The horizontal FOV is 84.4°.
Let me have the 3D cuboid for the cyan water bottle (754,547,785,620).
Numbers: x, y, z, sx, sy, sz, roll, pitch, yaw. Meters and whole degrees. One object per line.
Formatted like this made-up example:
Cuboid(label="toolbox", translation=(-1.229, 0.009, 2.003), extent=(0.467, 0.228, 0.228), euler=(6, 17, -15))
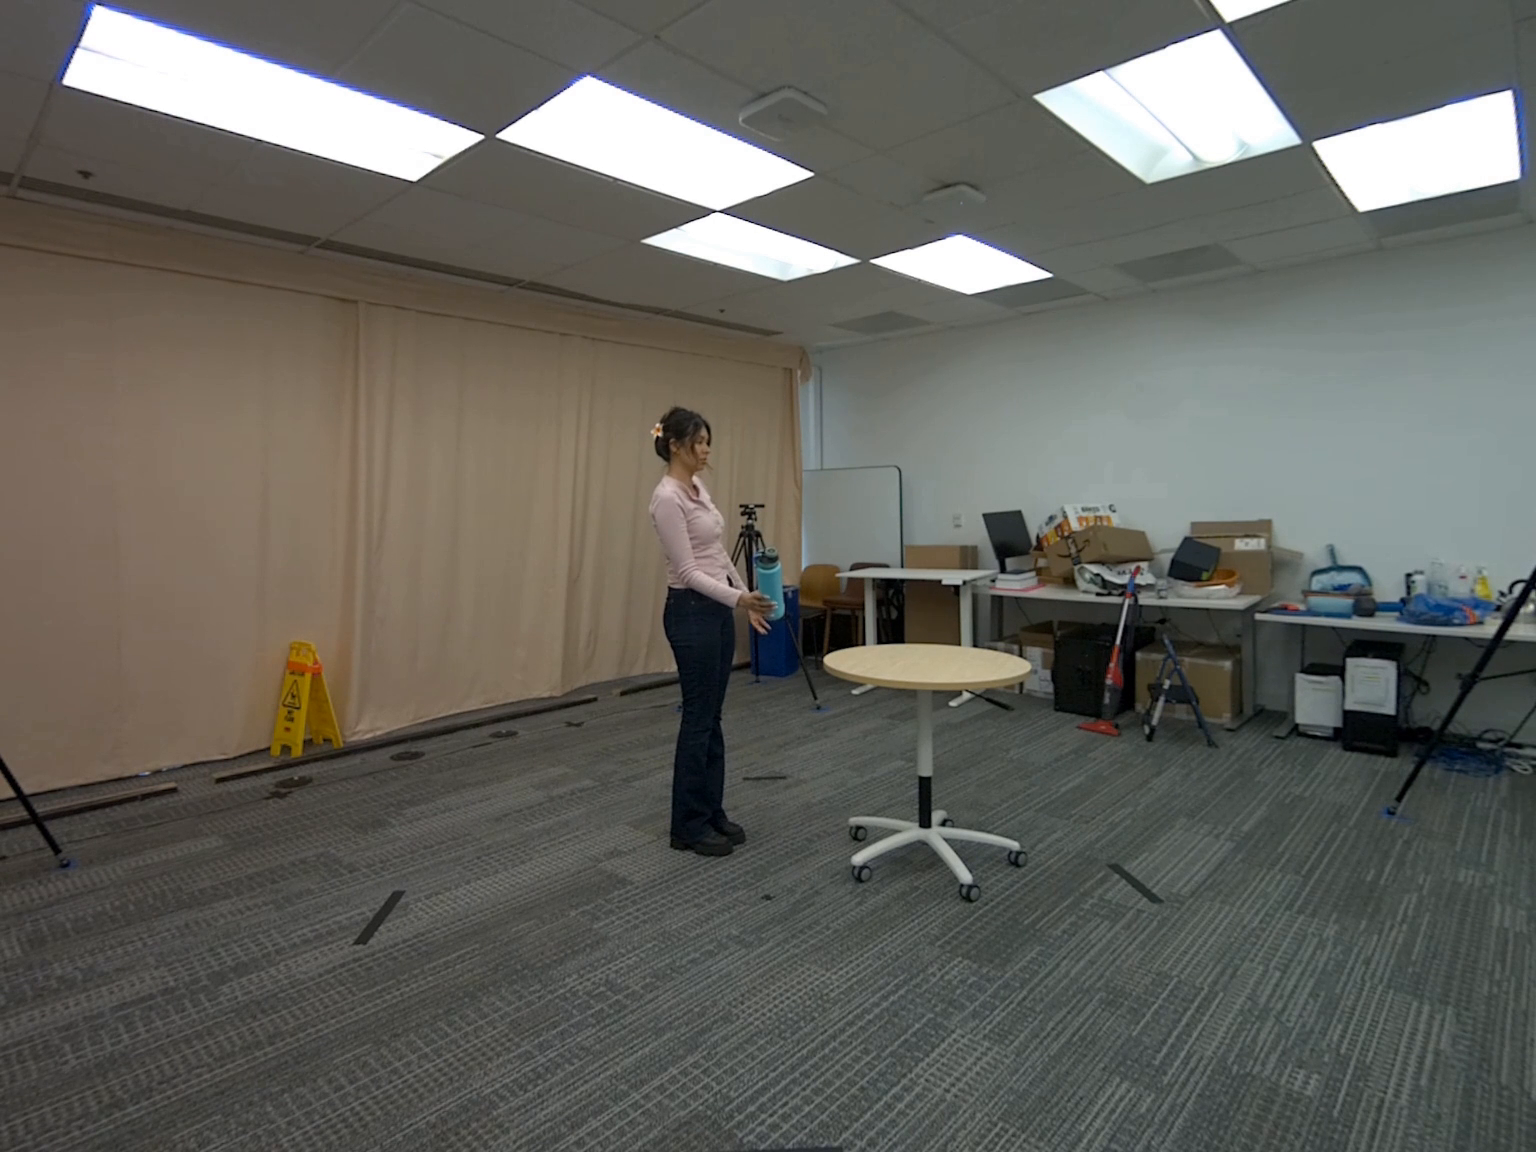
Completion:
Cuboid(label="cyan water bottle", translation=(0.006, 0.023, 3.035), extent=(0.092, 0.277, 0.094), euler=(-6, 33, 2))
